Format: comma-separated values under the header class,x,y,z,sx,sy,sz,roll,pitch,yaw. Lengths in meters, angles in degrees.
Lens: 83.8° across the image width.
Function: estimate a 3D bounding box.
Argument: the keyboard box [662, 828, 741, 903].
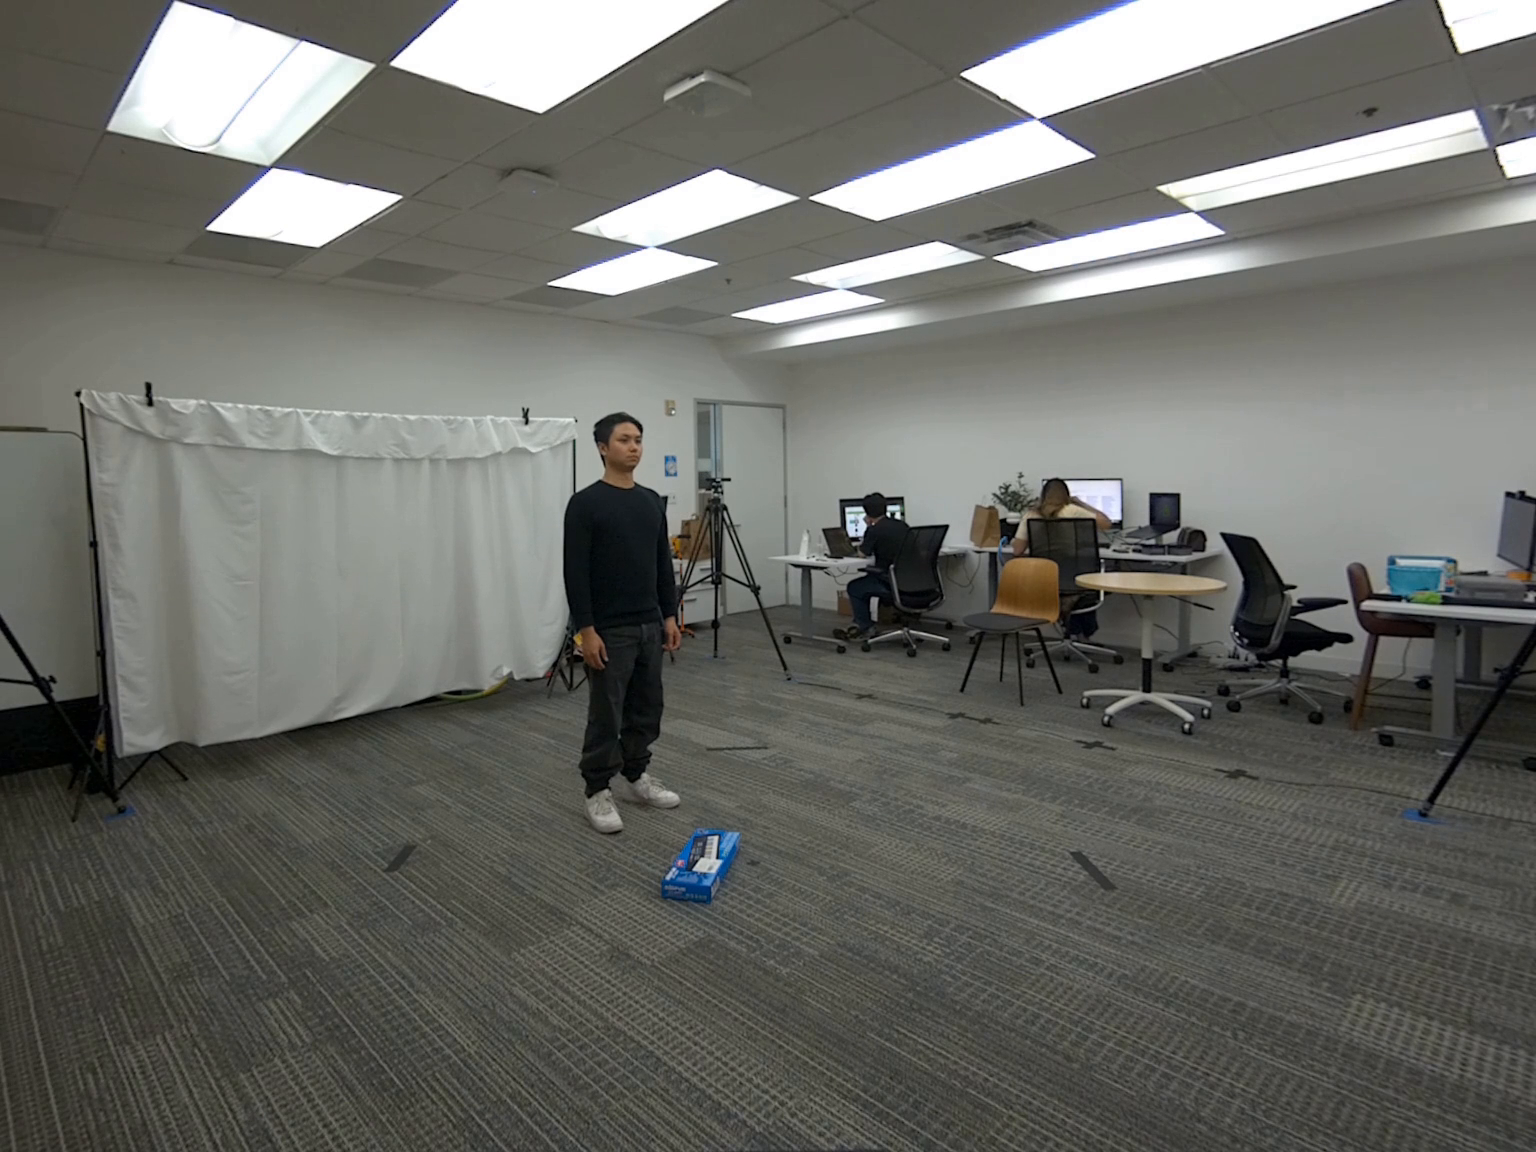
class,x,y,z,sx,sy,sz,roll,pitch,yaw
keyboard box,-0.225,1.021,3.044,0.178,0.059,0.433,1,7,12
